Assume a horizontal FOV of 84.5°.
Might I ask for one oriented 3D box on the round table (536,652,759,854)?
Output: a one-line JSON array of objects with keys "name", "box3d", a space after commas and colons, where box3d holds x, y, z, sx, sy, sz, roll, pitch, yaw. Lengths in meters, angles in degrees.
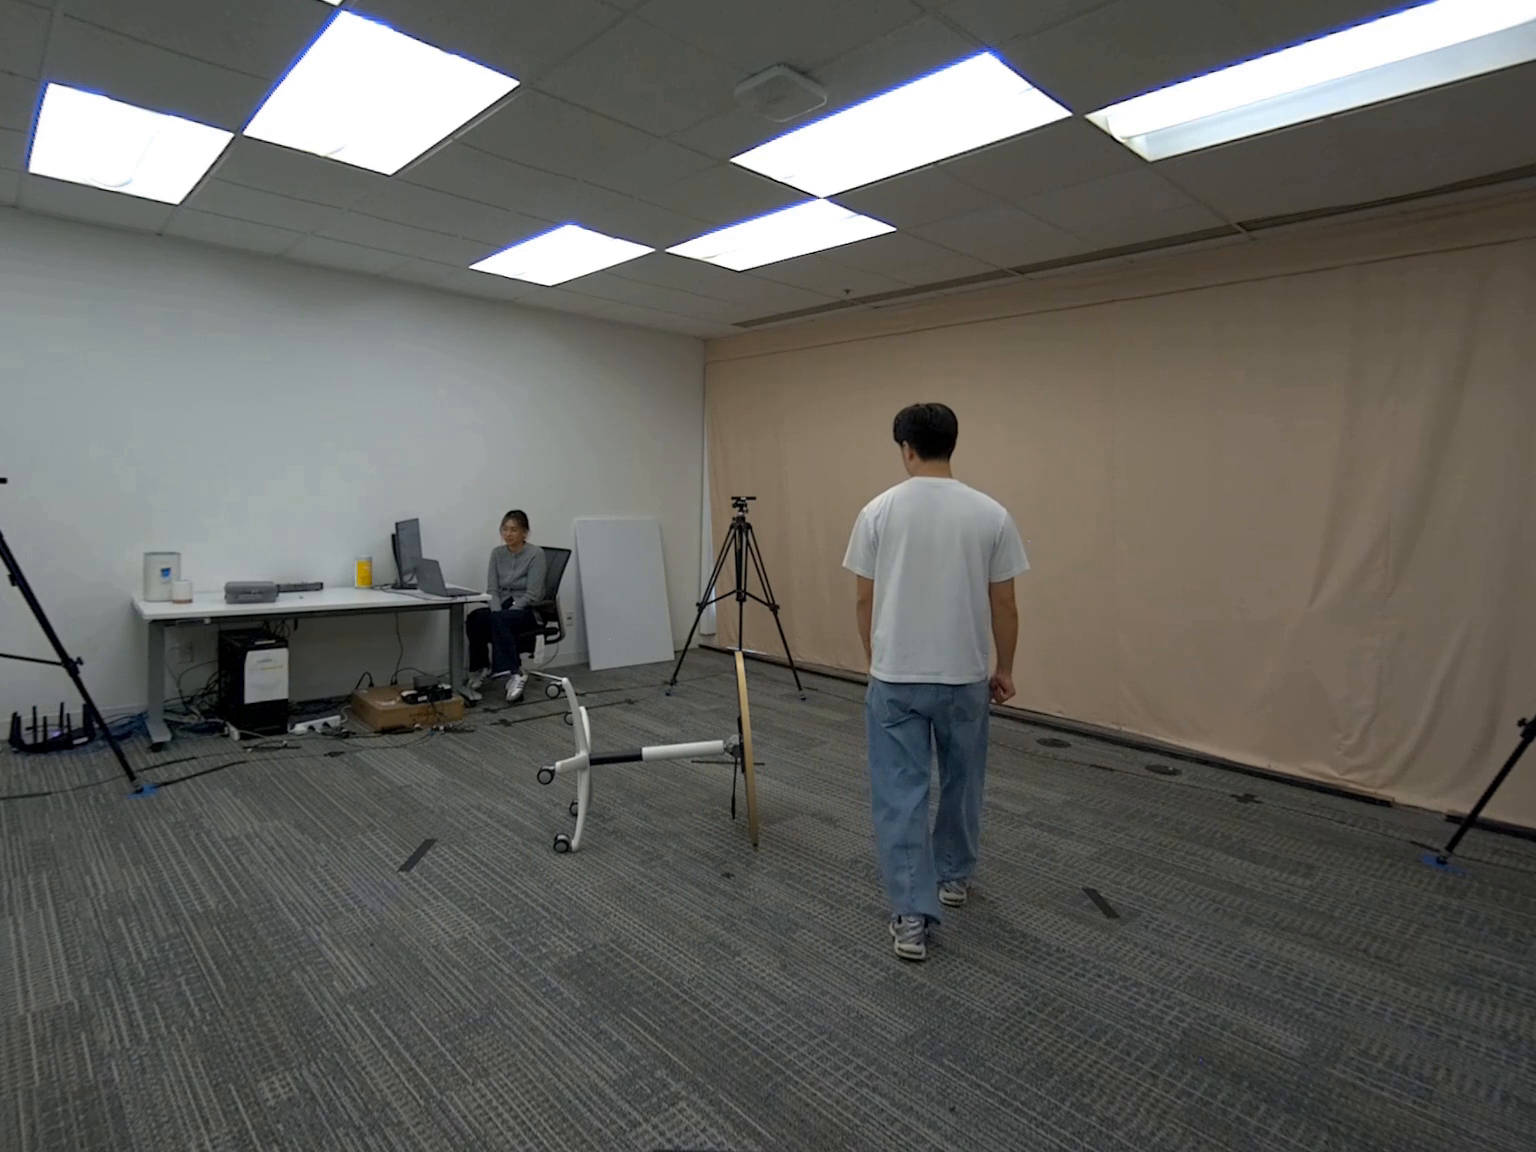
[{"name": "round table", "box3d": [-0.477, 0.722, 3.442, 0.785, 0.782, 0.789, -5, 5, -3]}]
